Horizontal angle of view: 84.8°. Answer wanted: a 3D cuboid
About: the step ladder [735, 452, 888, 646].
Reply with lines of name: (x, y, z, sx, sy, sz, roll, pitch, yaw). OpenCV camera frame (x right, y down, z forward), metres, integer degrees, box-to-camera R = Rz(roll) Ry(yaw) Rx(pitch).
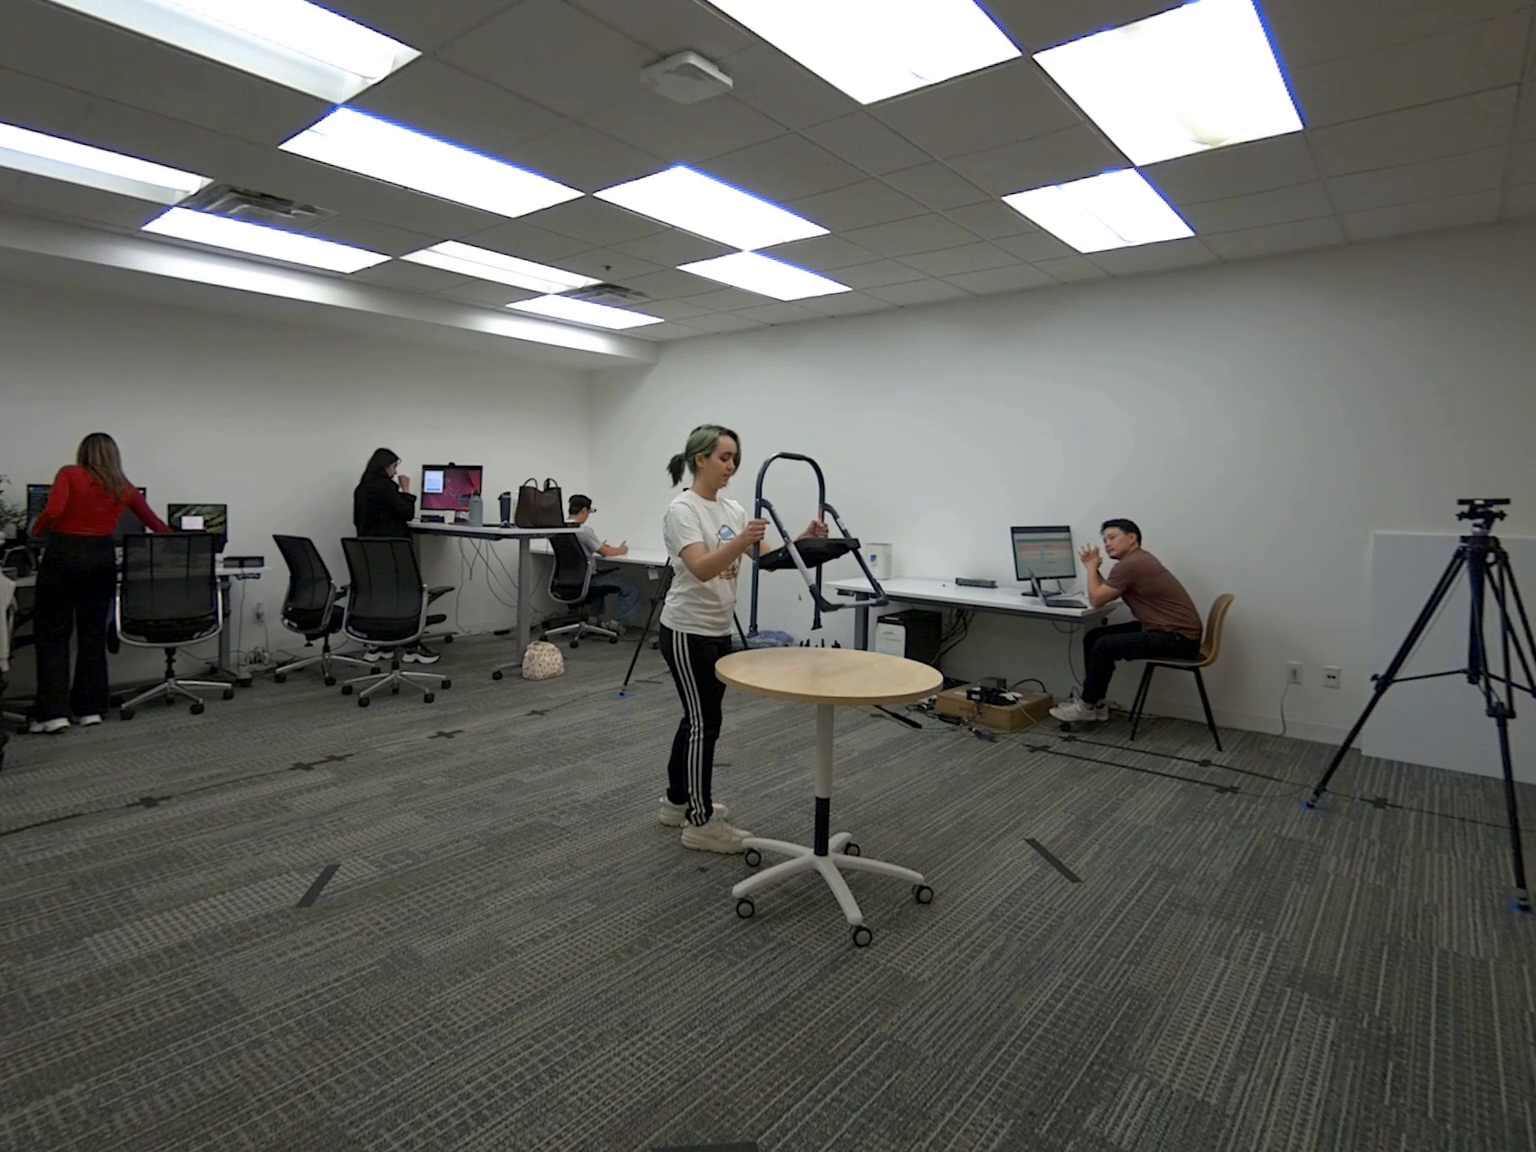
step ladder: (0.103, -0.132, 3.065, 0.355, 0.615, 0.417, -23, -14, 36)
